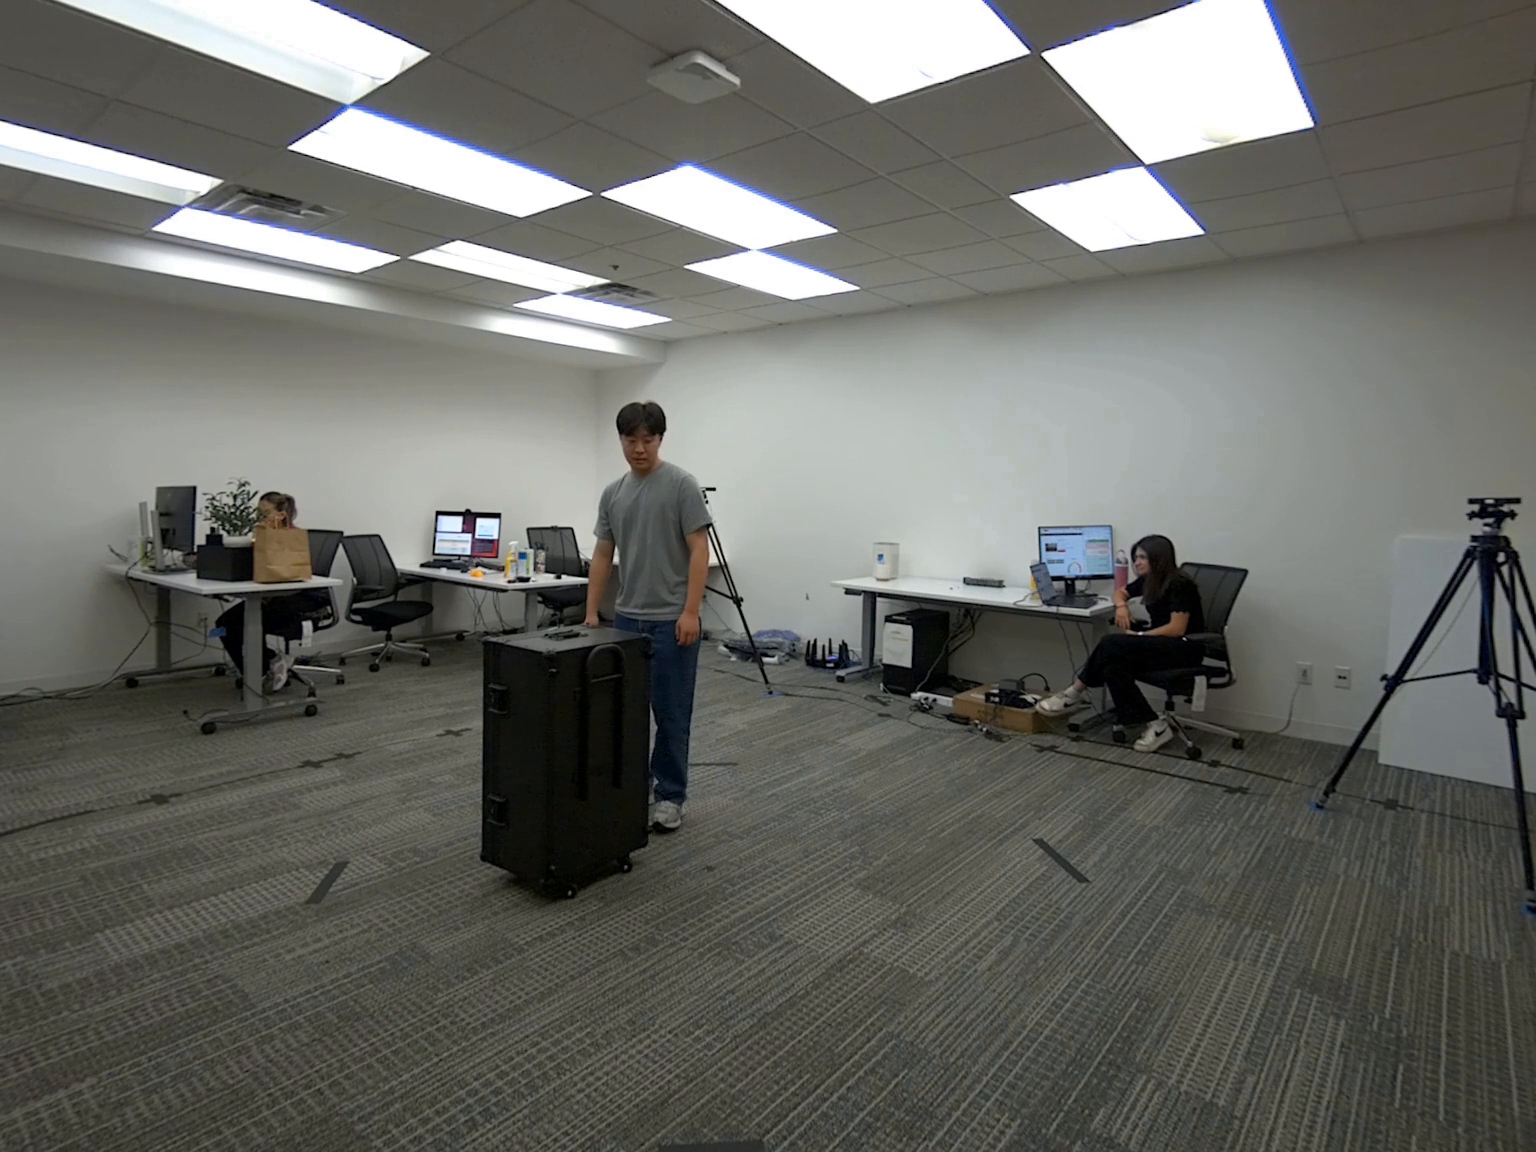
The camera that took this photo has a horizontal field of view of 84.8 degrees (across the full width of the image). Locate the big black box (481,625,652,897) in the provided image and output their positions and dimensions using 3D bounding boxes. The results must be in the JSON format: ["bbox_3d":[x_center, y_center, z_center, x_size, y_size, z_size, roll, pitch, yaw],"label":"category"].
[{"bbox_3d":[-0.718,0.641,3.034,0.409,0.859,0.506,4,4,37],"label":"big black box"}]
